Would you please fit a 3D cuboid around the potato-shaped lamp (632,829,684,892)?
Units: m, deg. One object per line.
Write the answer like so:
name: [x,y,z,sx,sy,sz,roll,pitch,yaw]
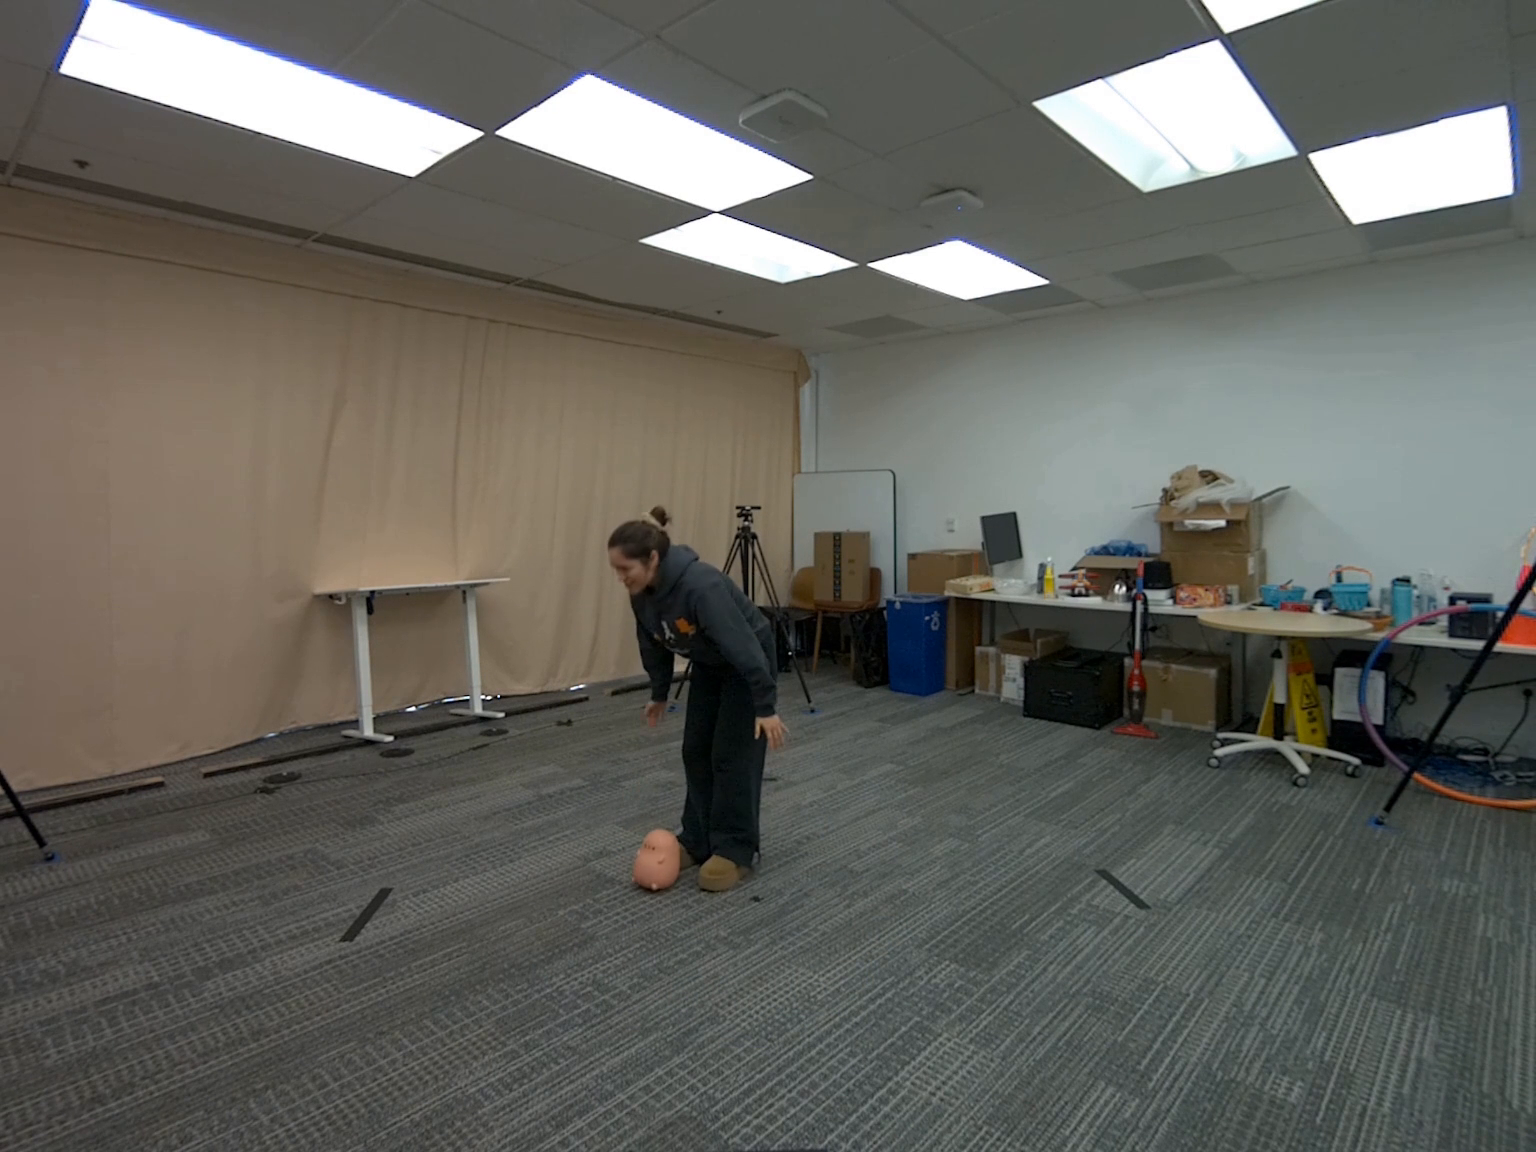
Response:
potato-shaped lamp: [-0.388,1.027,3.094,0.170,0.199,0.165,-1,-9,37]
